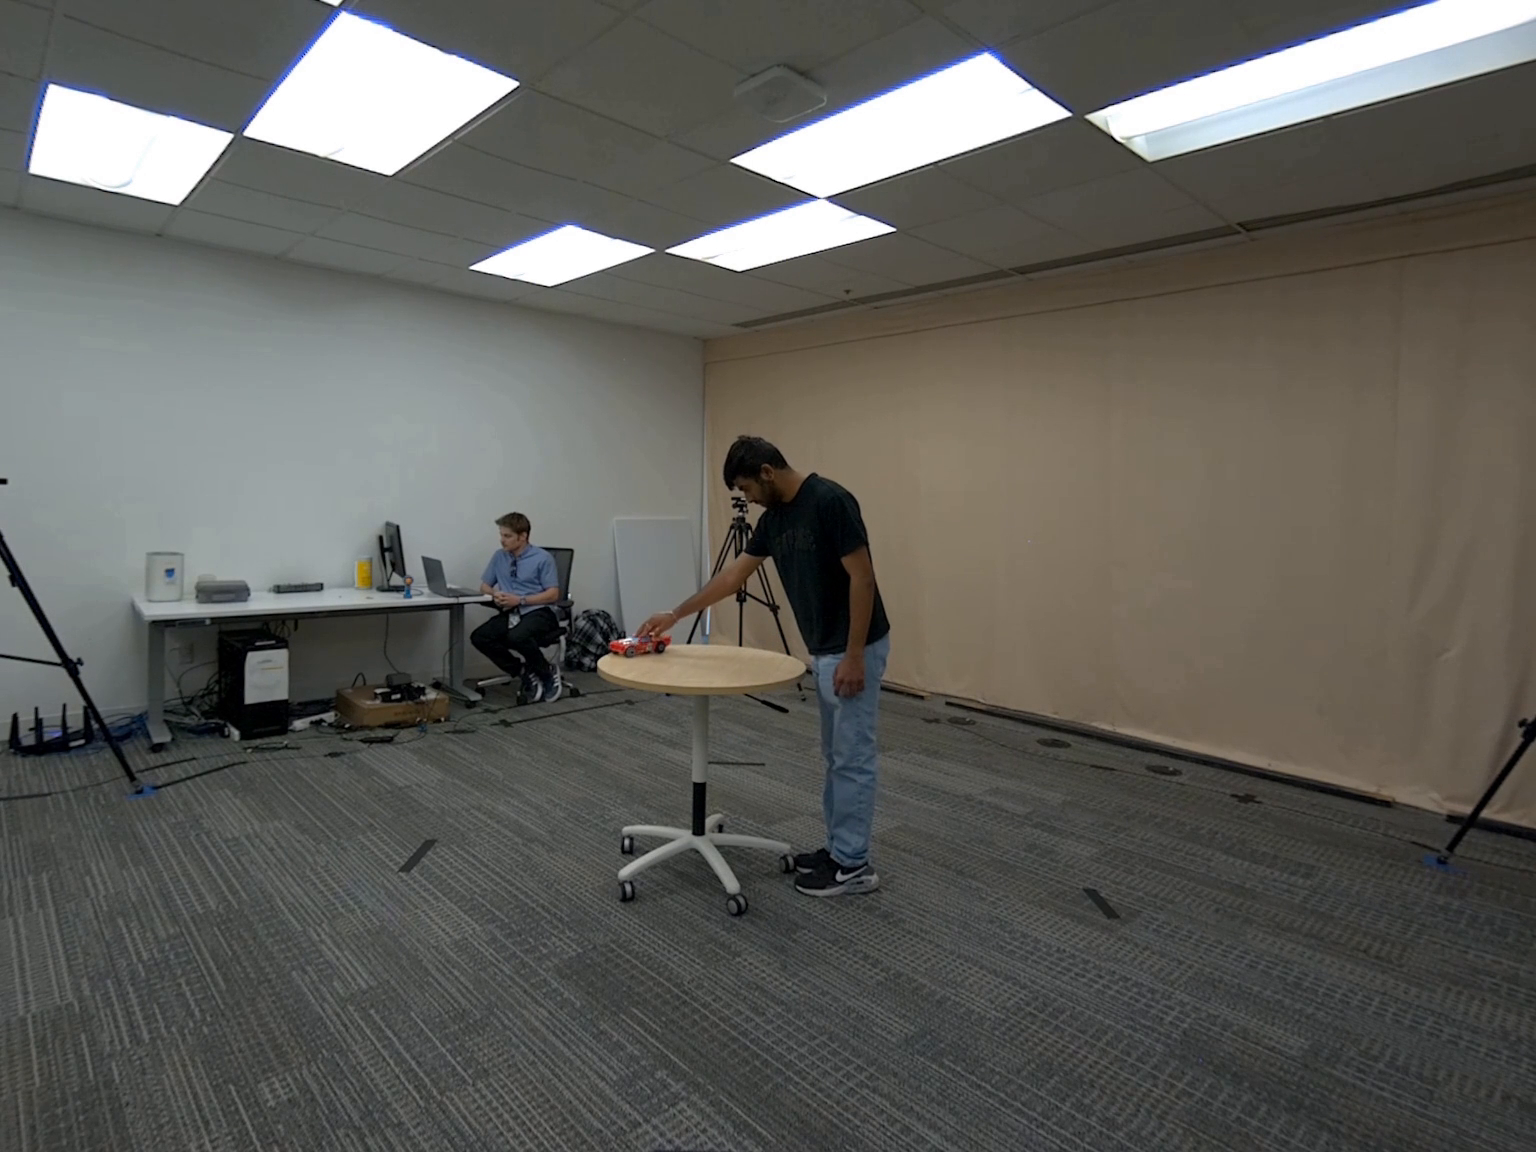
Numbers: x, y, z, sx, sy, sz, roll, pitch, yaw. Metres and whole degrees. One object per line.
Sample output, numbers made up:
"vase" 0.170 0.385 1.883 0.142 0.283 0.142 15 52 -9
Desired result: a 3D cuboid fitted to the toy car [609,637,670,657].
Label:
"toy car" -0.492 0.265 3.267 0.134 0.082 0.250 6 18 45
